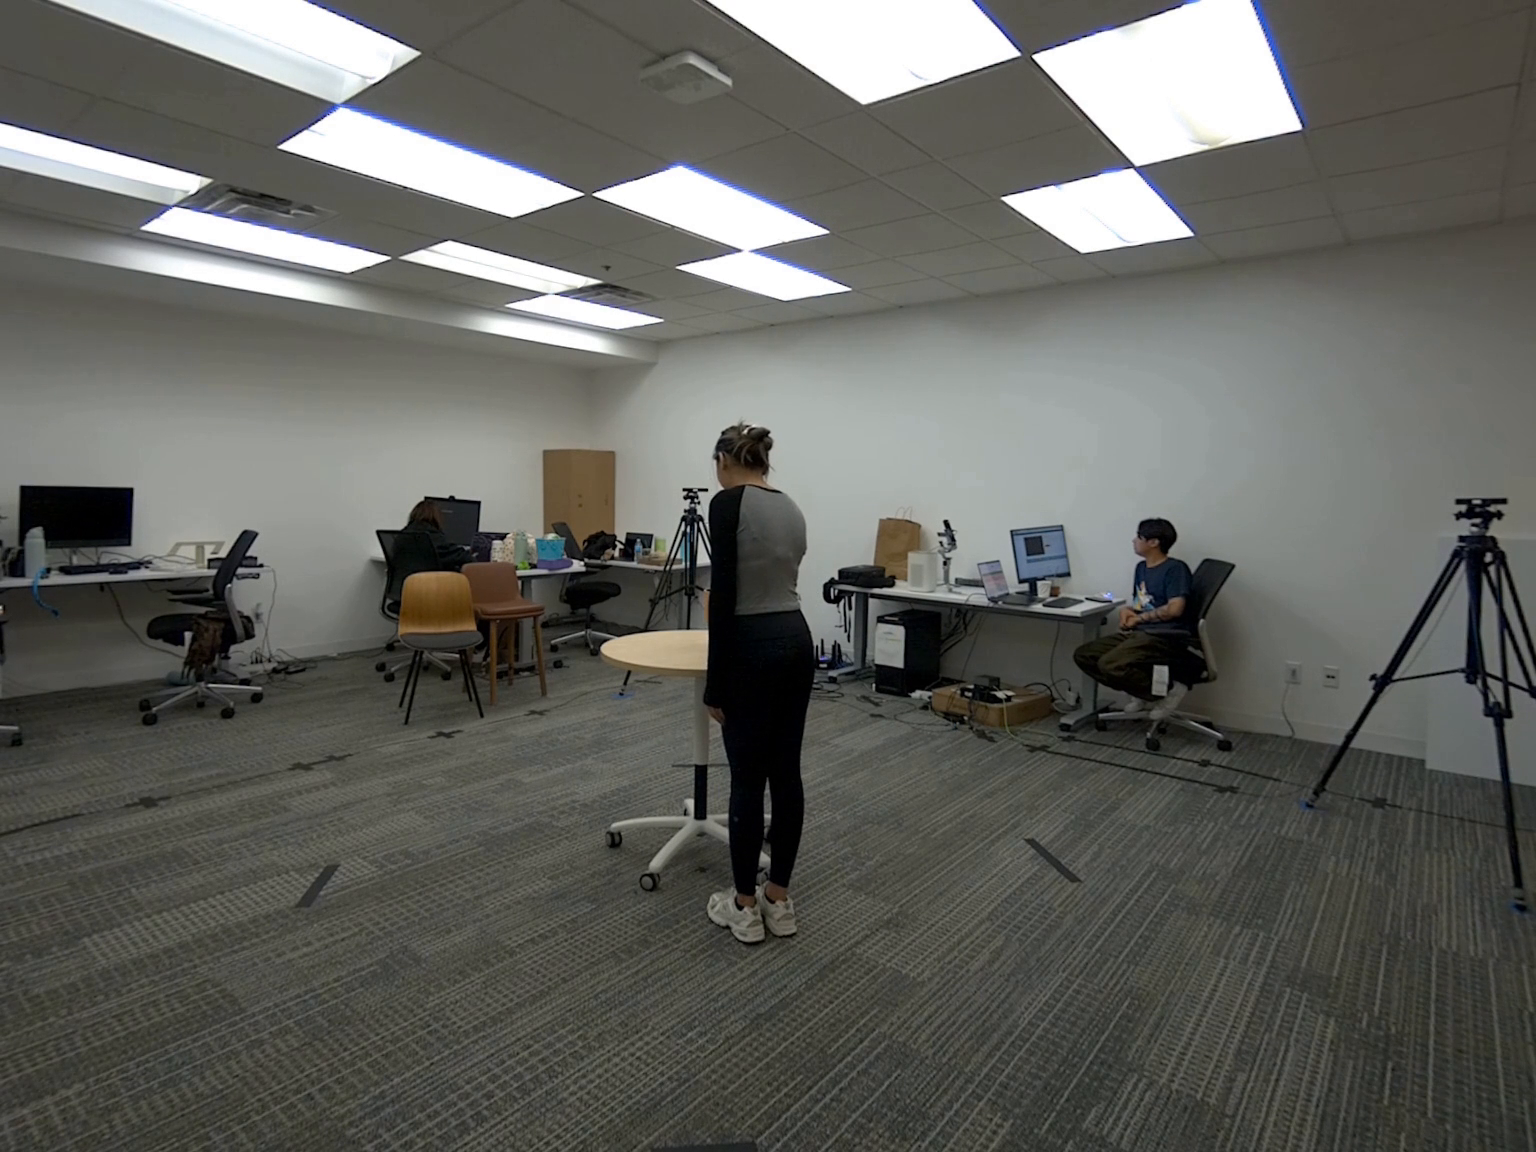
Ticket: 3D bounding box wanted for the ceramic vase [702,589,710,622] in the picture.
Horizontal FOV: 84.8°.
[{"bbox_3d":[-0.181,0.152,3.165,0.154,0.219,0.139,-3,6,-39],"label":"ceramic vase"}]
